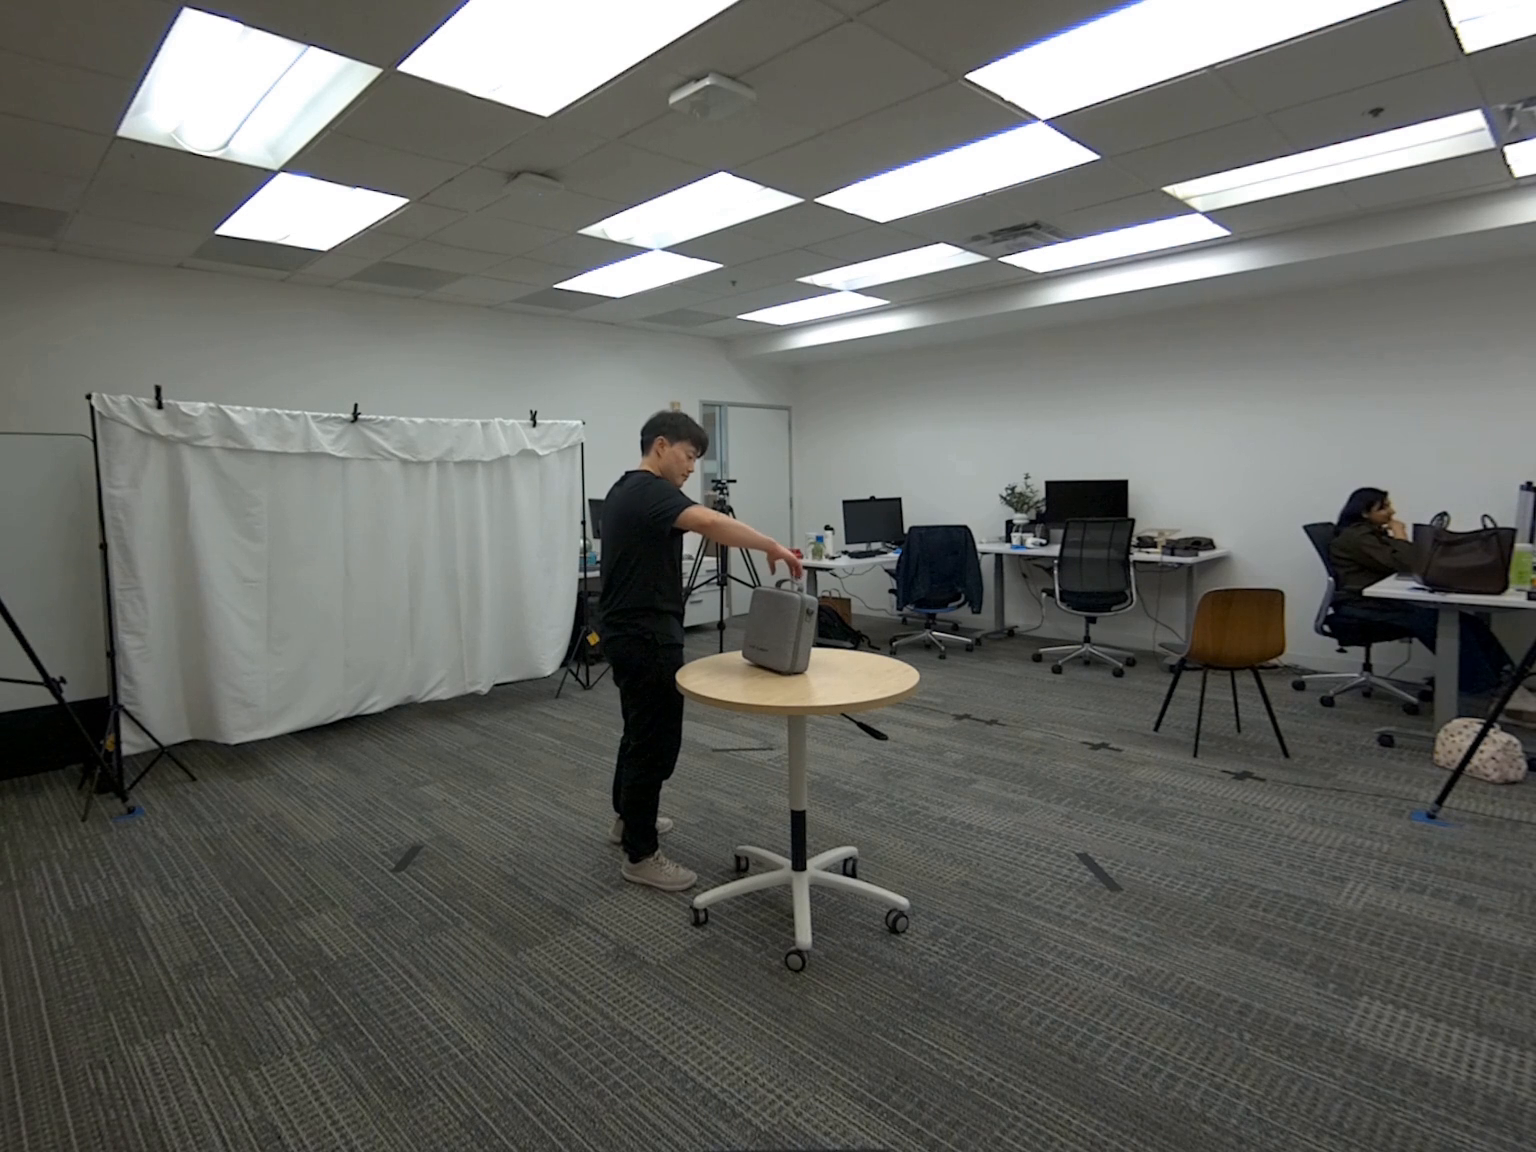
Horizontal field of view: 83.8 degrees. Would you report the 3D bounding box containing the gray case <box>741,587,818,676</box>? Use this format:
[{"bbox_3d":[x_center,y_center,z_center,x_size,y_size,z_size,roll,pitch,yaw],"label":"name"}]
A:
[{"bbox_3d":[0.041,0.170,2.774,0.101,0.261,0.264,10,-1,-32],"label":"gray case"}]
